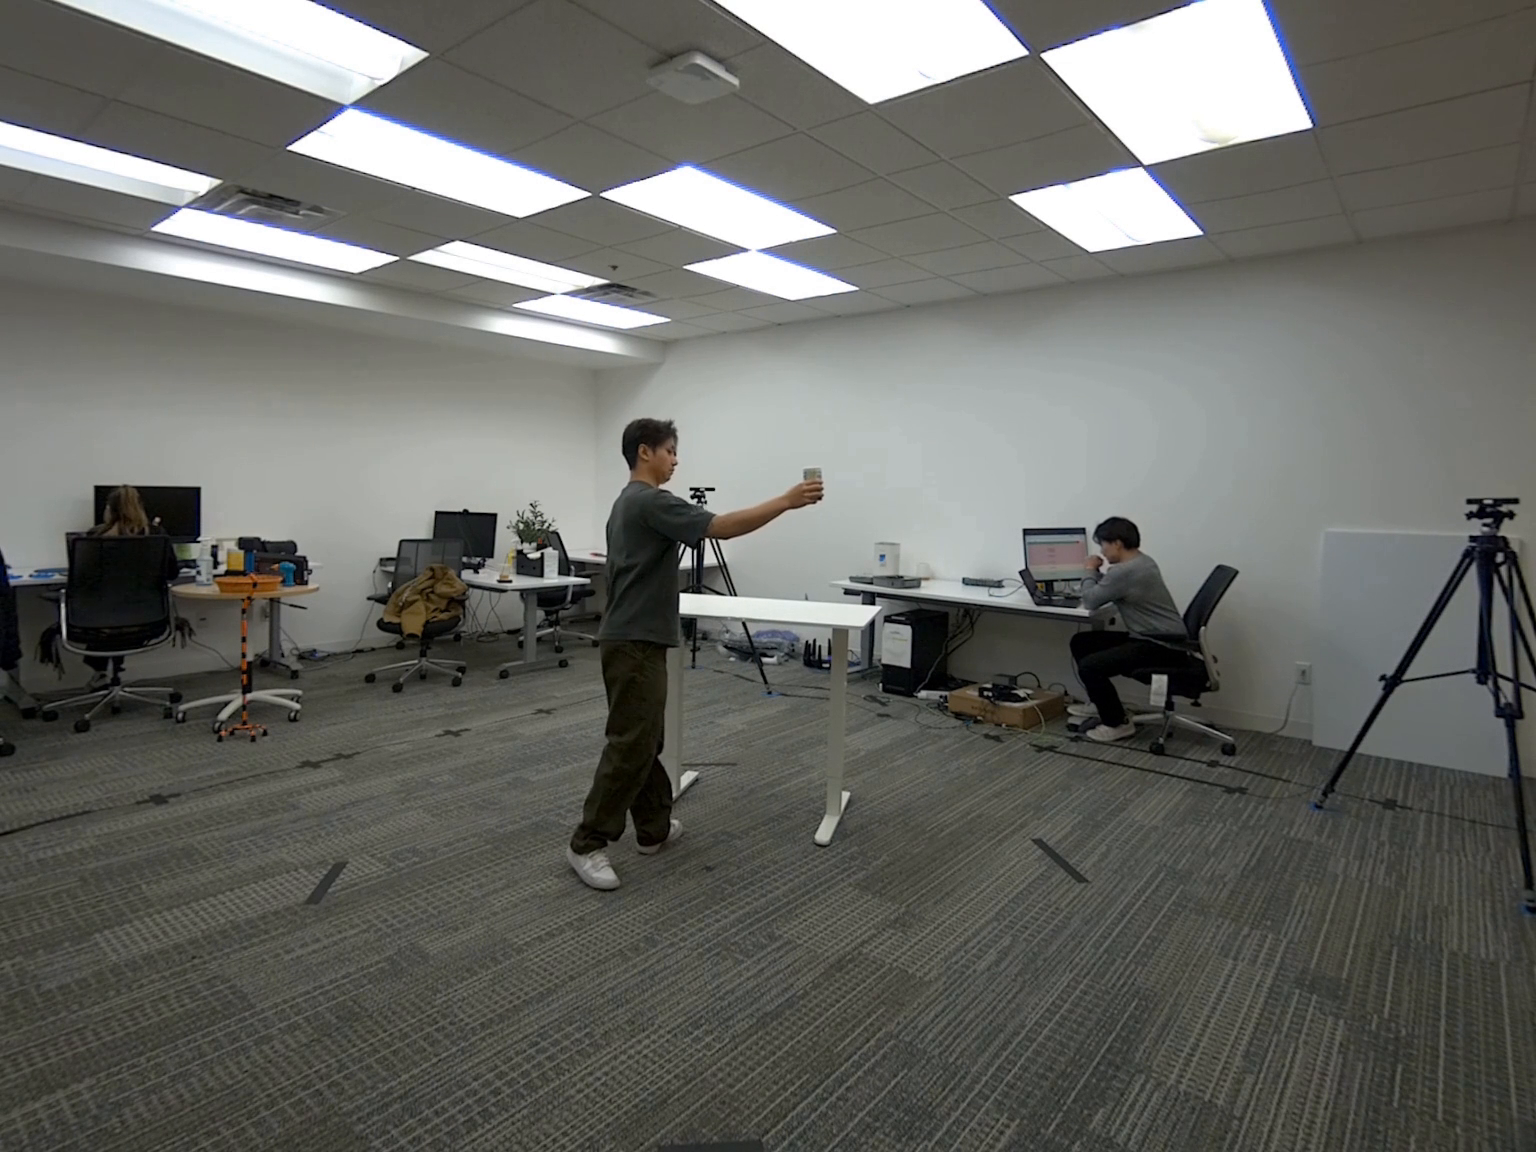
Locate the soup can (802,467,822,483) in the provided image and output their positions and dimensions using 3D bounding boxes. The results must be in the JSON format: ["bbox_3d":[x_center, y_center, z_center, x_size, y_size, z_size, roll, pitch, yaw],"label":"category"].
[{"bbox_3d":[0.145,-0.329,3.047,0.067,0.121,0.067,-1,0,-2],"label":"soup can"}]
